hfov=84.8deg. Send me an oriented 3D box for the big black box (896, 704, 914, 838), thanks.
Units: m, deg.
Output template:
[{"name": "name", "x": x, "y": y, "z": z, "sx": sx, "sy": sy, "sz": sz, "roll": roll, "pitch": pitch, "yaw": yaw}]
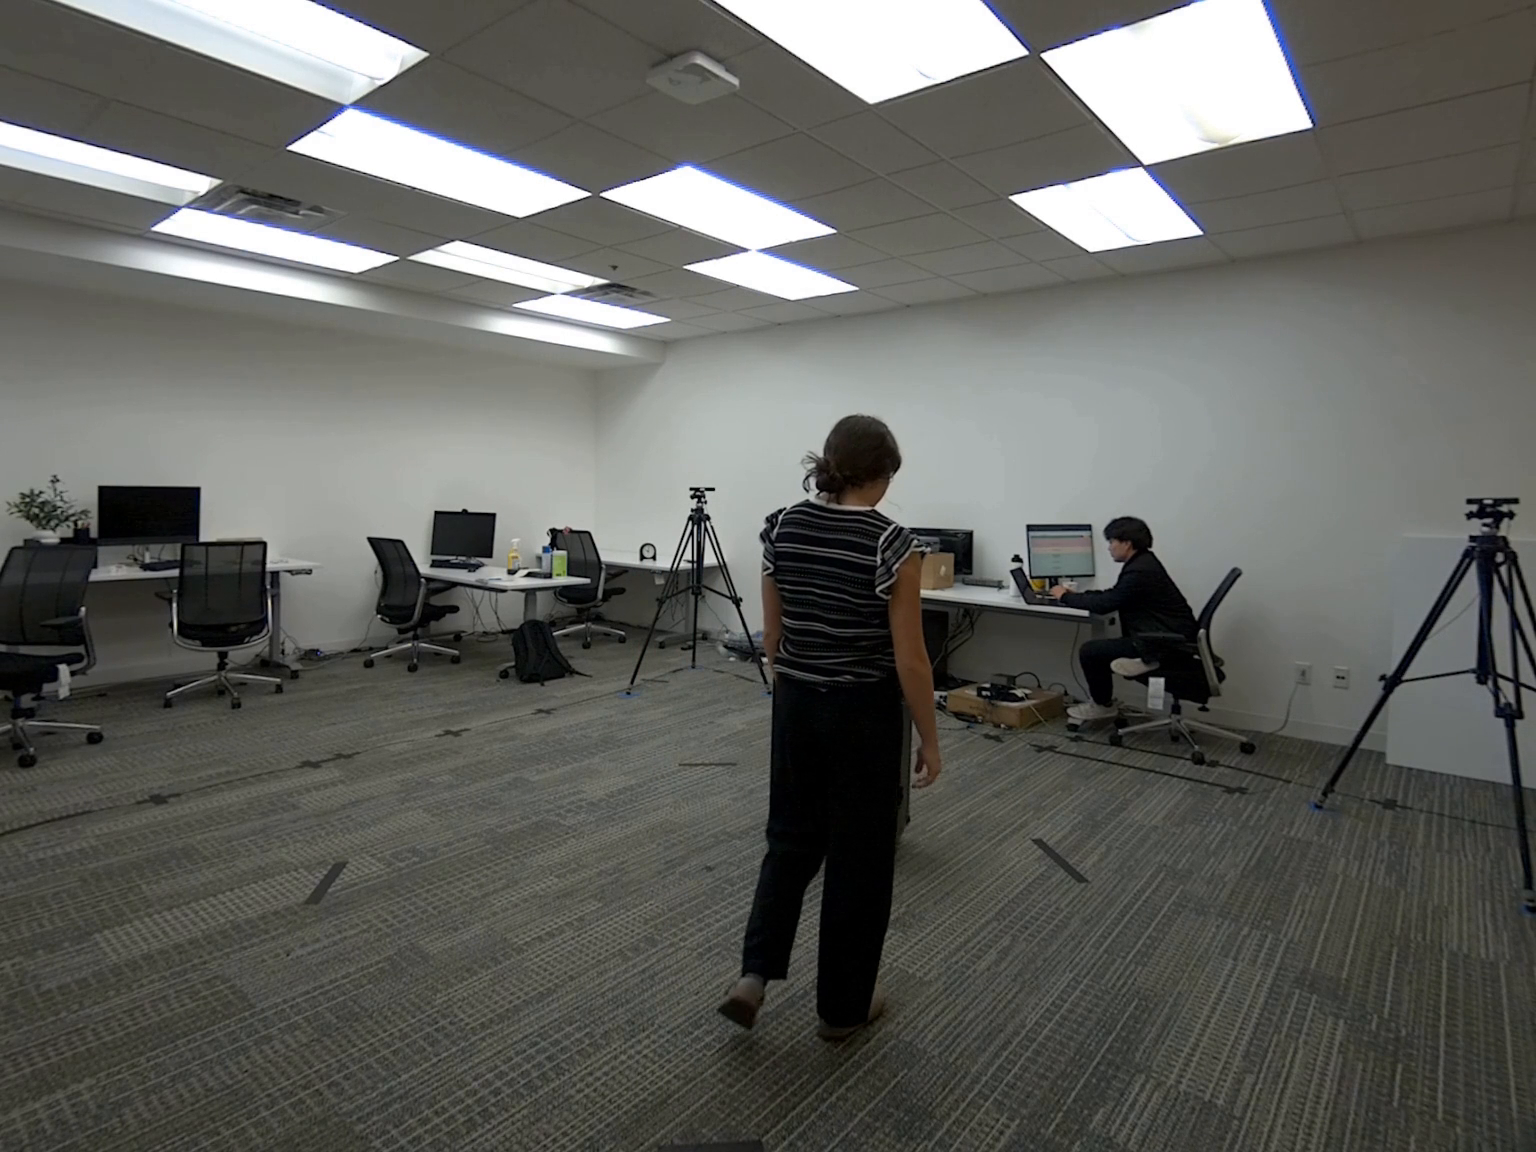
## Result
[{"name": "big black box", "x": 0.282, "y": 0.626, "z": 3.340, "sx": 0.533, "sy": 0.860, "sz": 0.388, "roll": 2, "pitch": 2, "yaw": 21}]
